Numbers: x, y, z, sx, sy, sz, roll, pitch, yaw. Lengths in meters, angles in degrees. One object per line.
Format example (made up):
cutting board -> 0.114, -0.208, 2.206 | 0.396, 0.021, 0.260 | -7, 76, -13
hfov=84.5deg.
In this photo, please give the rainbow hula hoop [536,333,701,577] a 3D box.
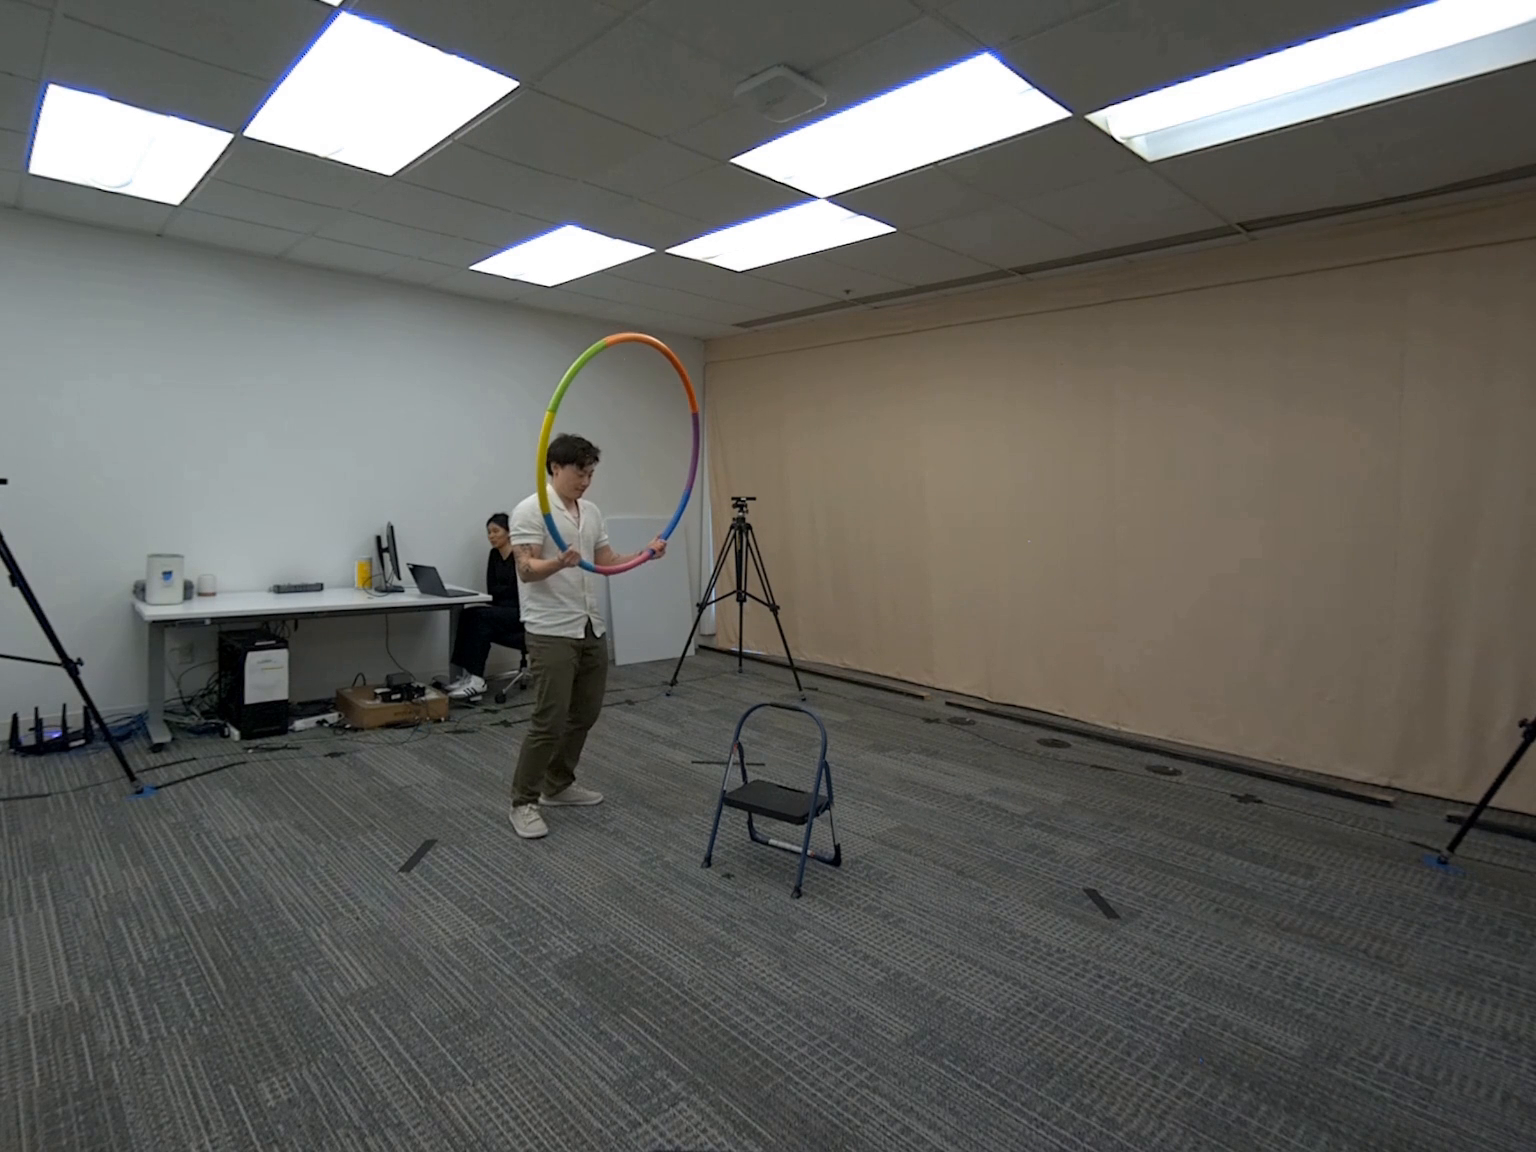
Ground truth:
rainbow hula hoop -> -0.584, -0.489, 3.441 | 0.036, 0.973, 0.960 | 15, 10, 29
